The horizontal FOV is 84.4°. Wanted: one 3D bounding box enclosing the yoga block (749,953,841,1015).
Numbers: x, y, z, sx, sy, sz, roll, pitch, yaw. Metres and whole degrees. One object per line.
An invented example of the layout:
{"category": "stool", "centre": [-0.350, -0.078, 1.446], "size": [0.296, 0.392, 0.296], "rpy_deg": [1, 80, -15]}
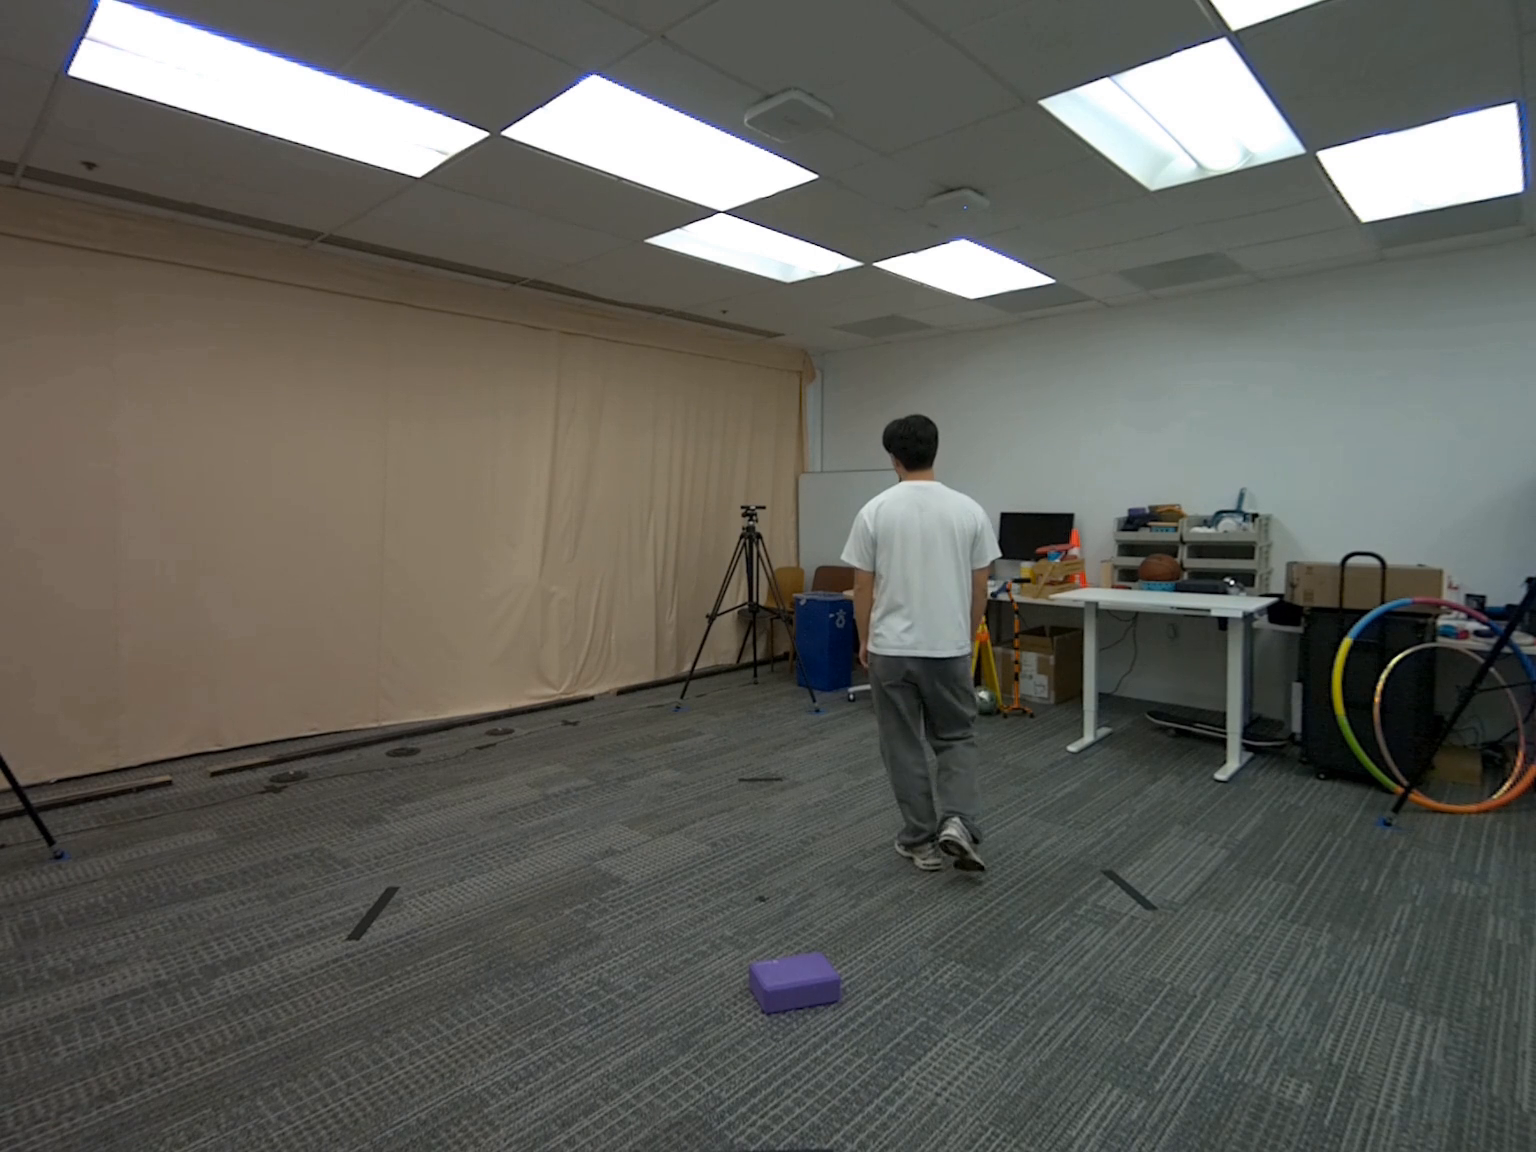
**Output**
{"category": "yoga block", "centre": [0.083, 1.154, 2.391], "size": [0.225, 0.076, 0.152], "rpy_deg": [-1, 4, -16]}
